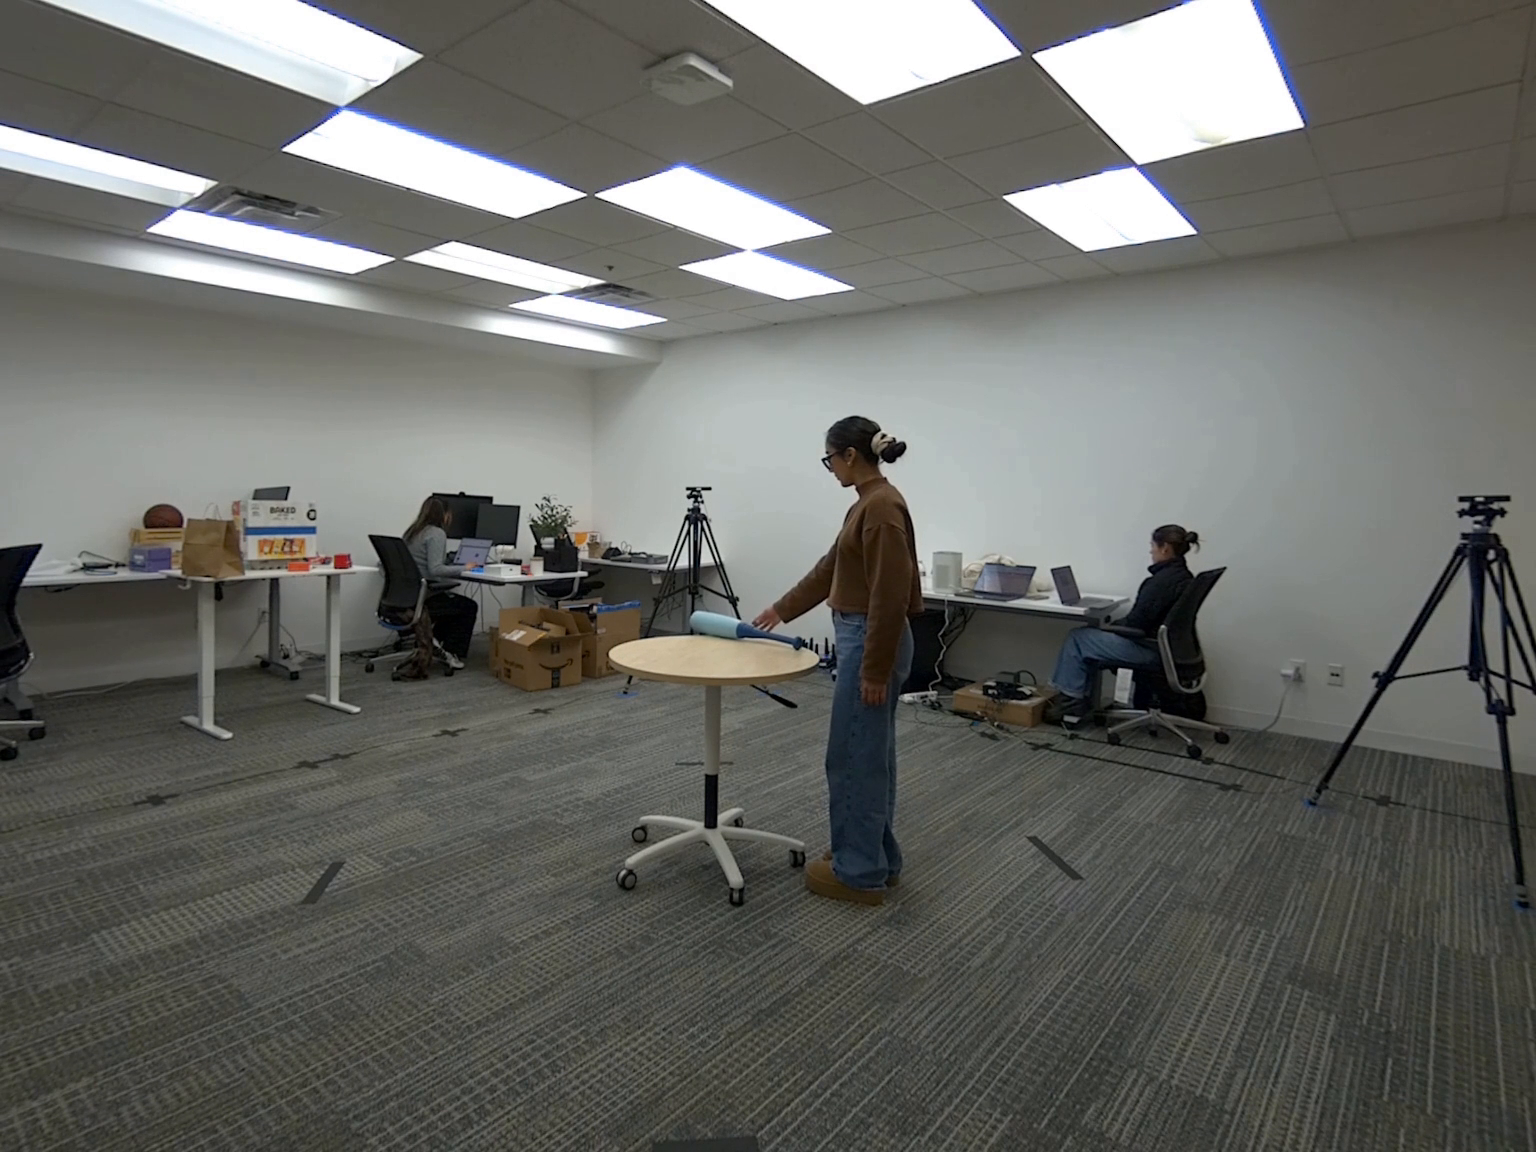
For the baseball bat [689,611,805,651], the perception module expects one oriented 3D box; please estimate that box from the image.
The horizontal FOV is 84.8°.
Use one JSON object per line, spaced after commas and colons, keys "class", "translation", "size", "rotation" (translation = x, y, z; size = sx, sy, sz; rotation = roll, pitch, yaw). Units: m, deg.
{"class": "baseball bat", "translation": [-0.100, 0.219, 3.390], "size": [0.562, 0.088, 0.086], "rotation": [9, 9, 38]}
